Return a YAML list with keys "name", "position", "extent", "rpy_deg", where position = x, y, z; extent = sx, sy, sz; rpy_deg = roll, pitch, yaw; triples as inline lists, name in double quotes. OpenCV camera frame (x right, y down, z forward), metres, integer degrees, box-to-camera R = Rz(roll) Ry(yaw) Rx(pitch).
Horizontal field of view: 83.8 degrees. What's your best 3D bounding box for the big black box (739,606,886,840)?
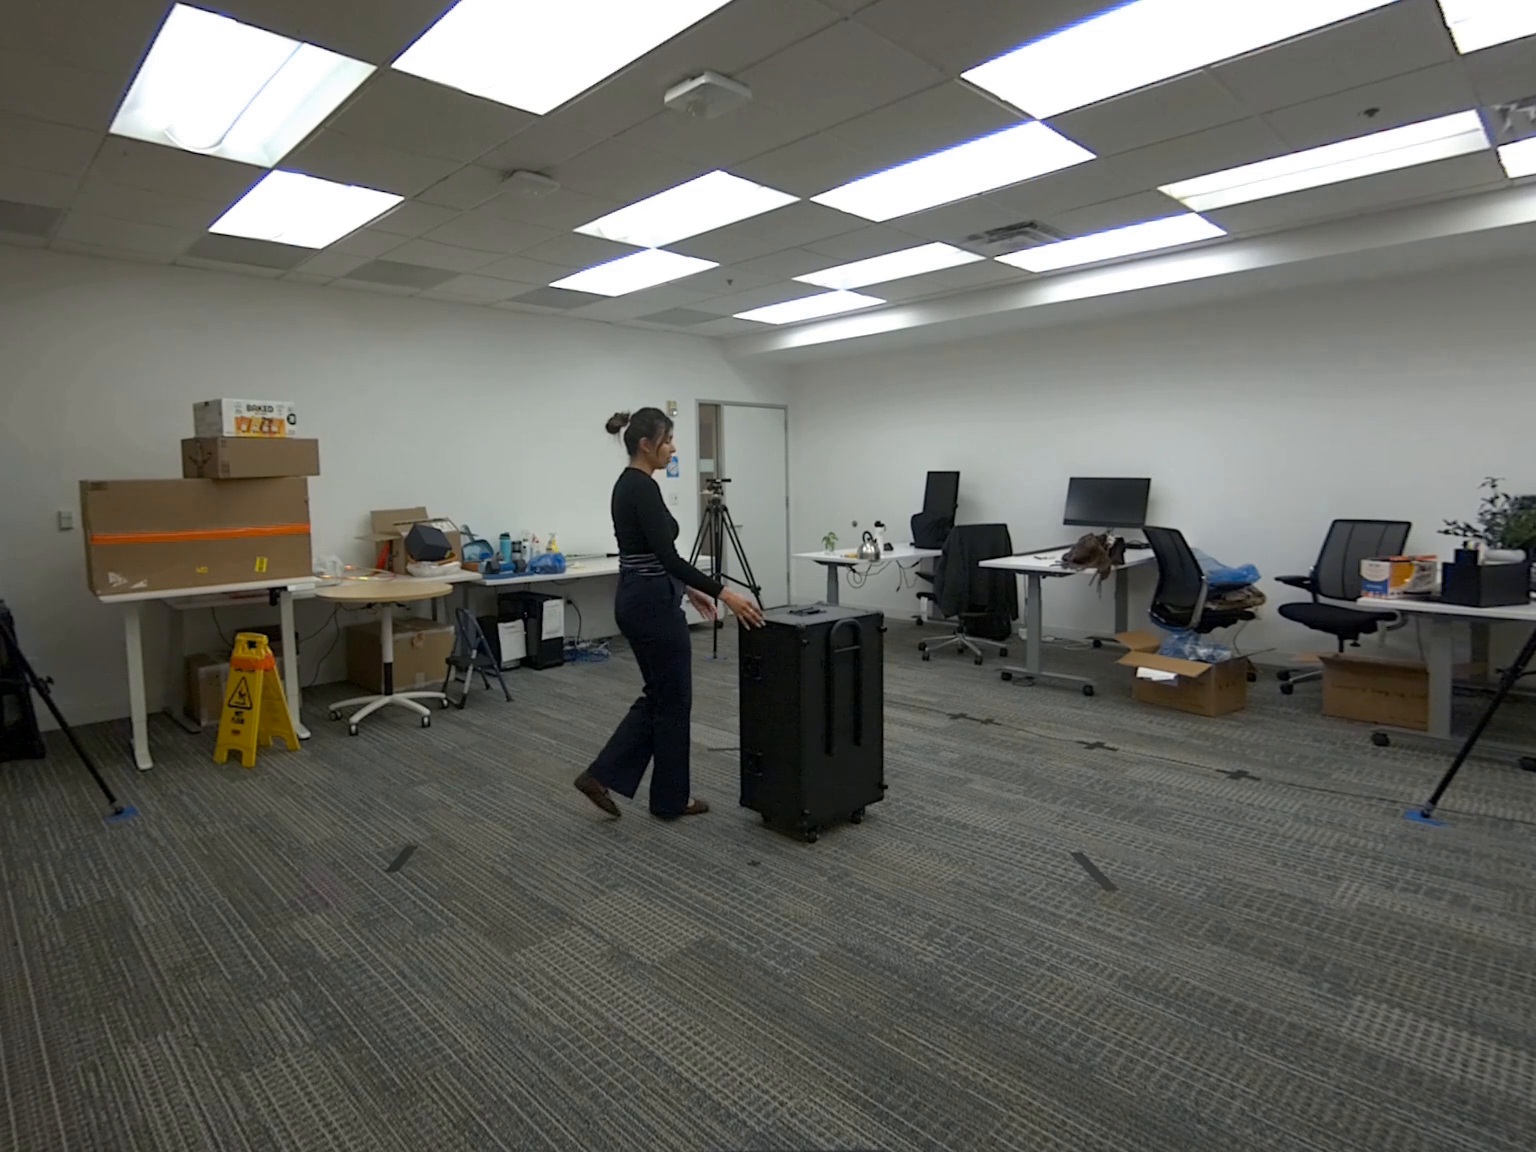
- name: "big black box"
  position: [0.191, 0.578, 3.462]
  extent: [0.507, 0.858, 0.408]
  rpy_deg: [-4, 6, -41]
